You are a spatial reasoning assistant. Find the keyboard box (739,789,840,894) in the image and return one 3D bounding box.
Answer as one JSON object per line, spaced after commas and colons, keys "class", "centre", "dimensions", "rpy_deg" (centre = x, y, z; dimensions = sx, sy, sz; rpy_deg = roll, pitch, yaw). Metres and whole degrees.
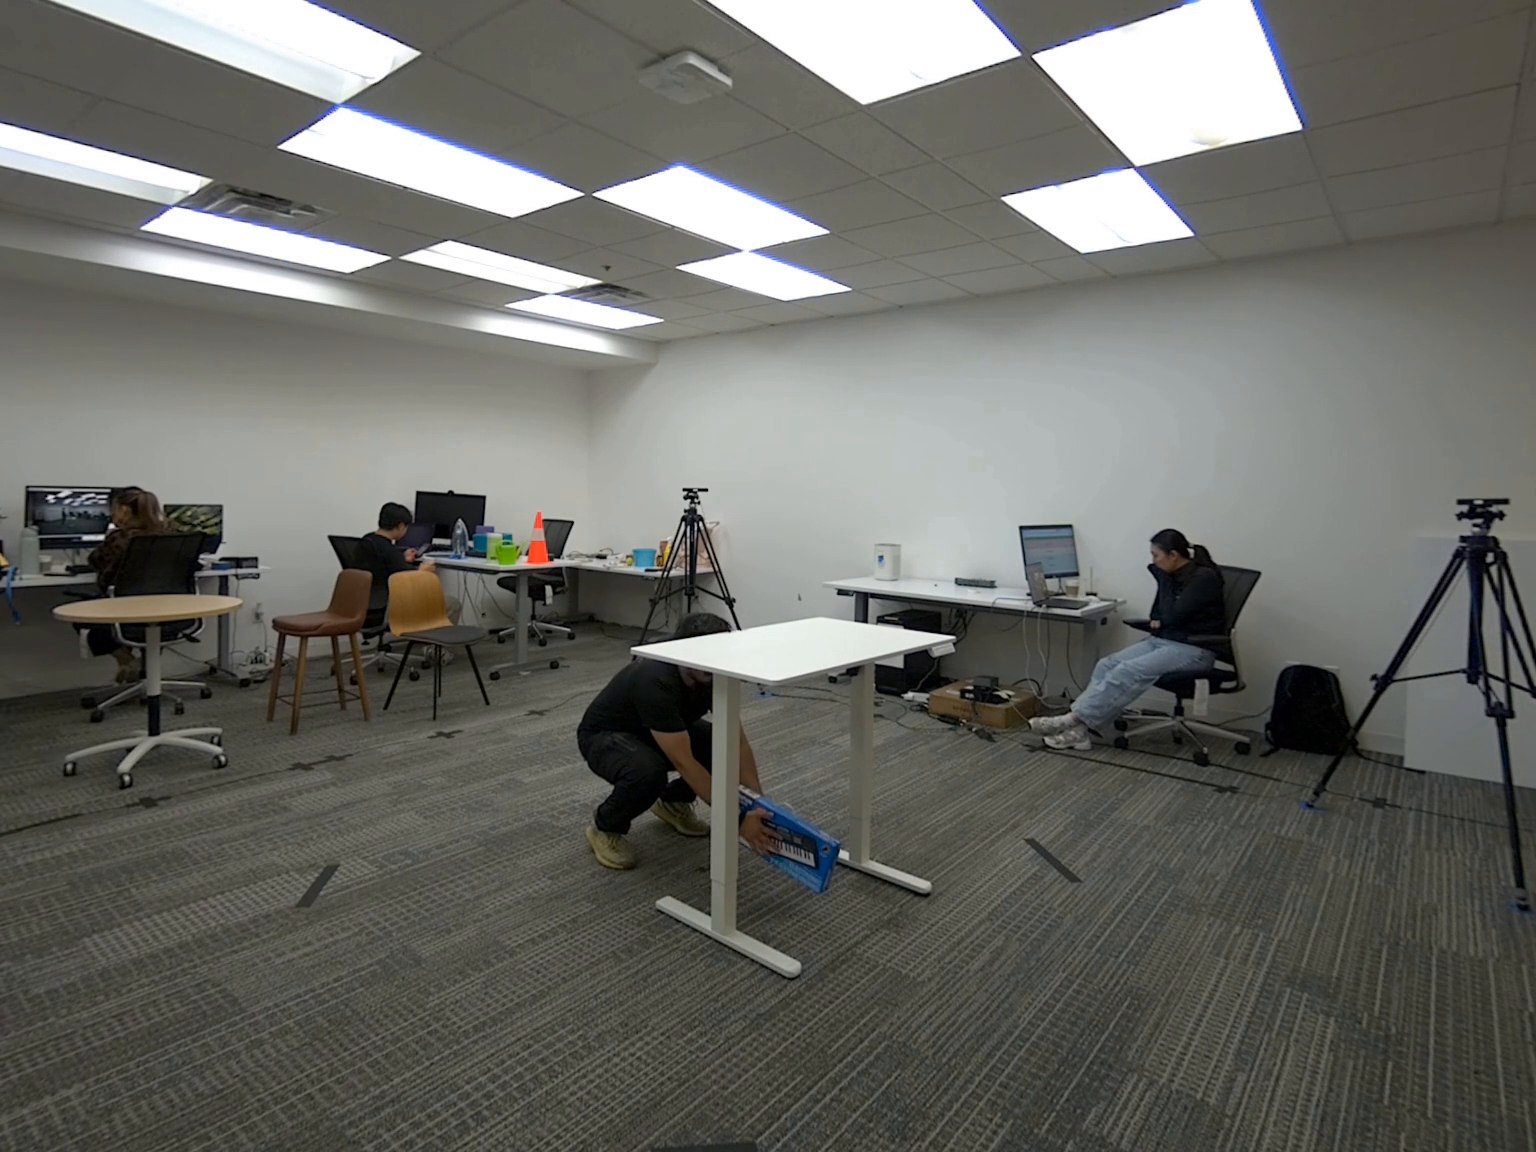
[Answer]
{"class": "keyboard box", "centre": [0.035, 0.898, 2.910], "dimensions": [0.453, 0.175, 0.057], "rpy_deg": [21, 7, 32]}
